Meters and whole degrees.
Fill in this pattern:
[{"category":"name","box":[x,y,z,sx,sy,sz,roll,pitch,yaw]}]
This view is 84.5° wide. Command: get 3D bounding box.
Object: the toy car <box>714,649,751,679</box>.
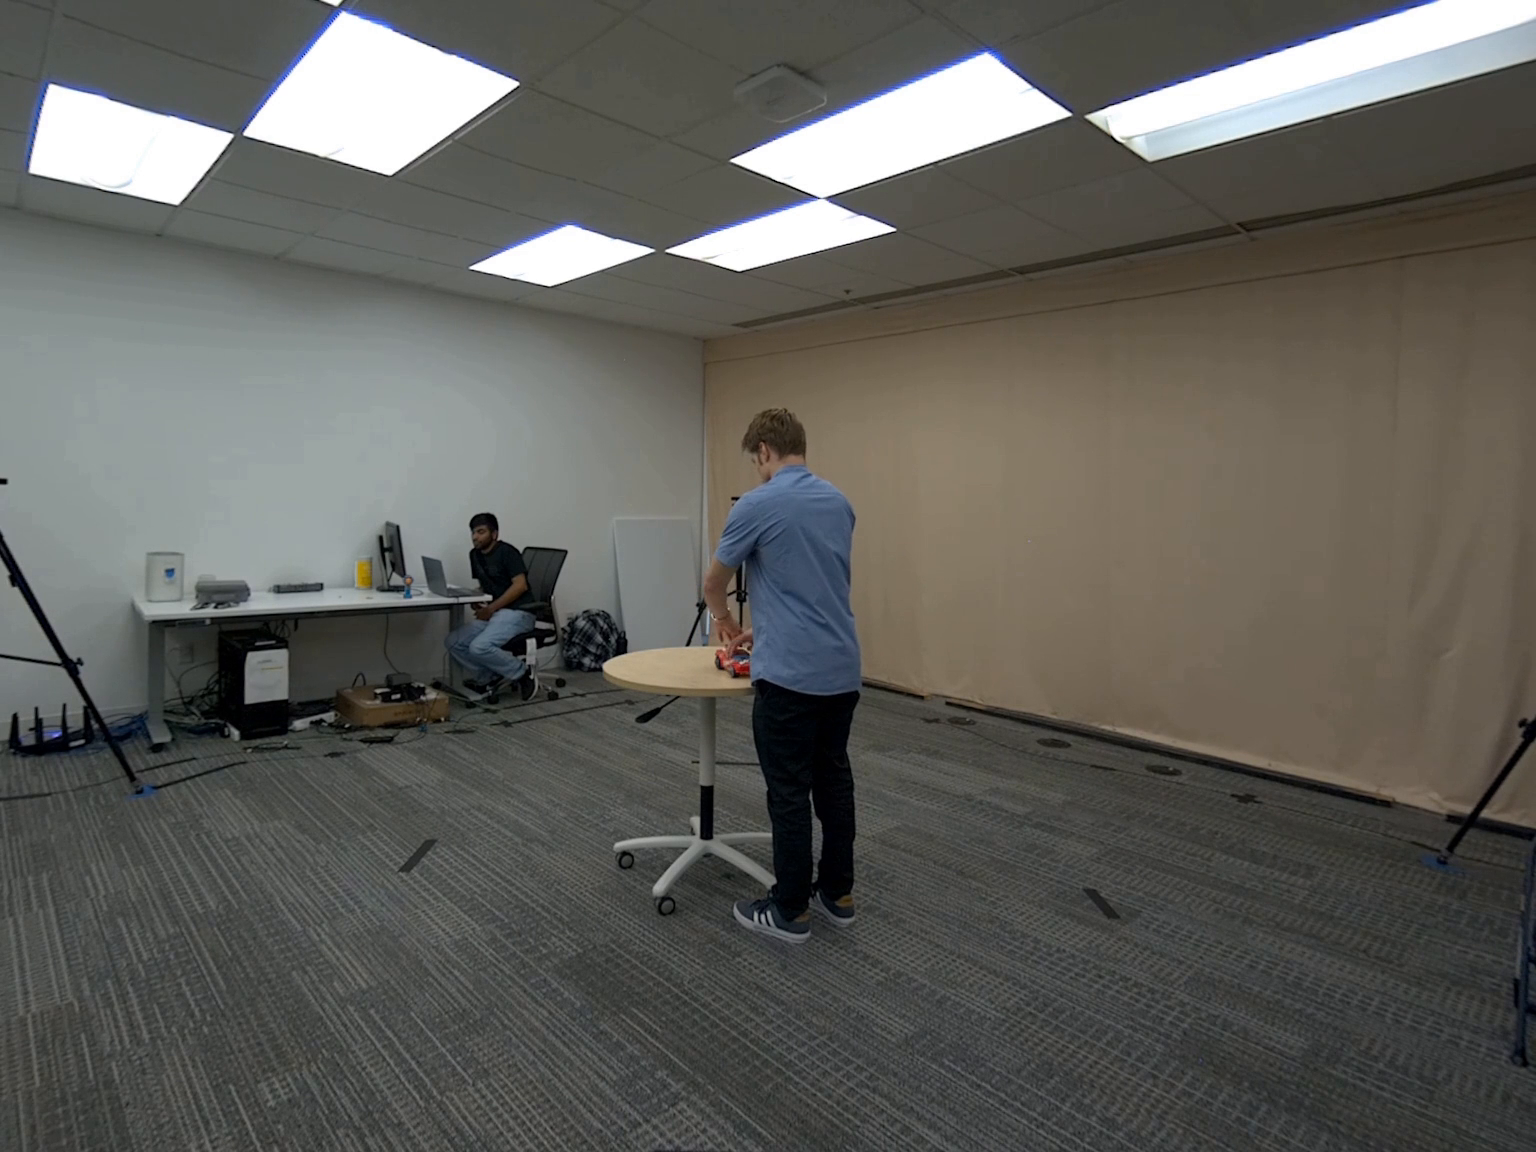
[{"category":"toy car","box":[-0.119,0.304,2.971,0.128,0.082,0.260,-1,18,-17]}]
